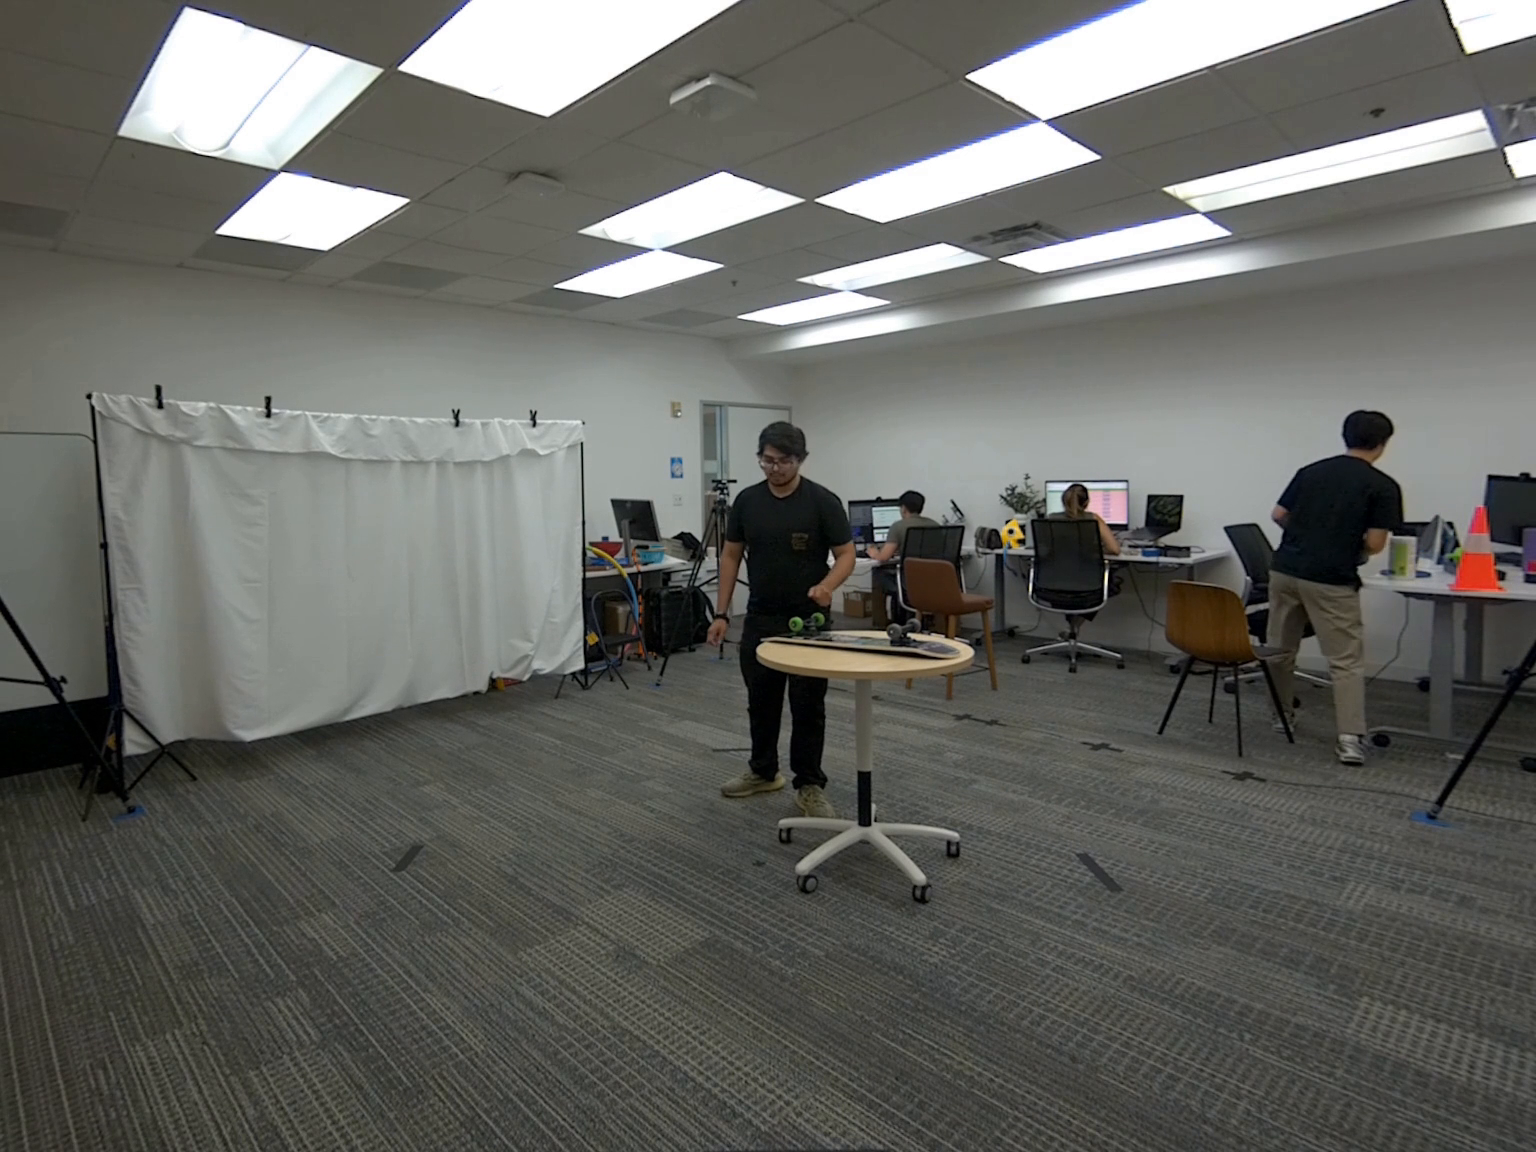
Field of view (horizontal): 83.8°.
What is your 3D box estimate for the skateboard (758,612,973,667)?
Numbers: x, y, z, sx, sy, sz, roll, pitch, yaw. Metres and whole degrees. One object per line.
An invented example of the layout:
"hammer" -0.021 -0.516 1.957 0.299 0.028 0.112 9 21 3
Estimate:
"skateboard" 0.322 0.215 3.112 0.808 0.110 0.189 2 8 38
